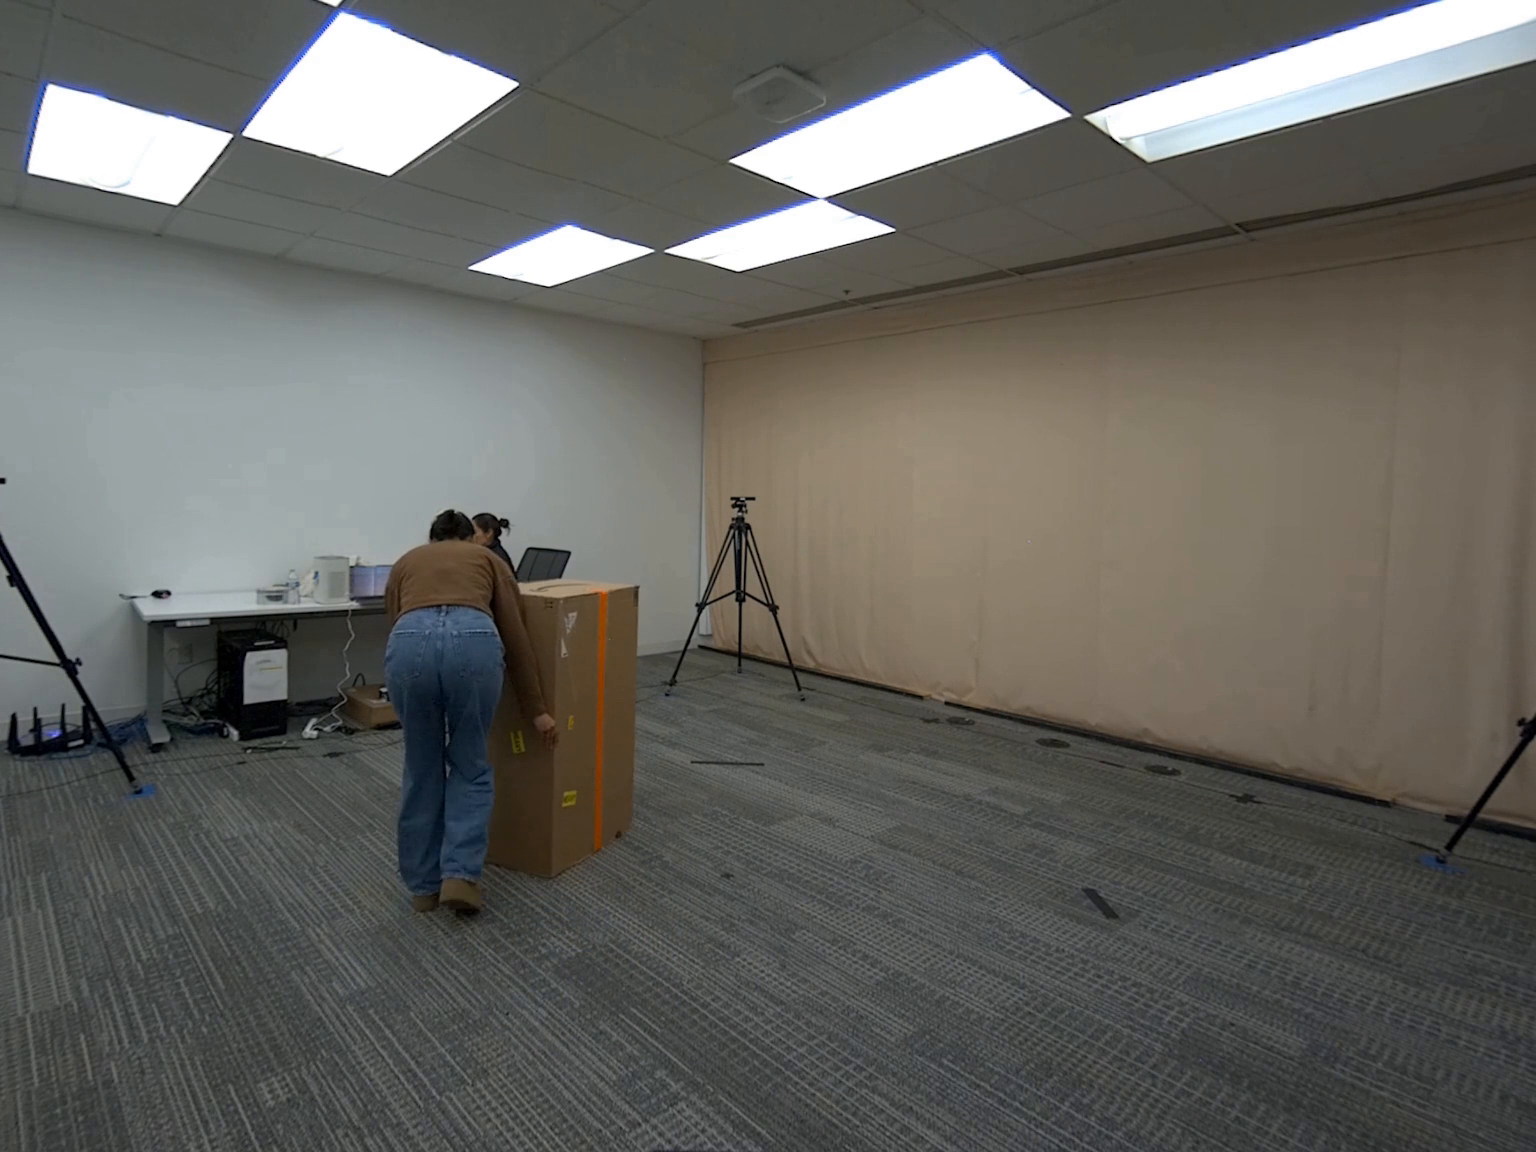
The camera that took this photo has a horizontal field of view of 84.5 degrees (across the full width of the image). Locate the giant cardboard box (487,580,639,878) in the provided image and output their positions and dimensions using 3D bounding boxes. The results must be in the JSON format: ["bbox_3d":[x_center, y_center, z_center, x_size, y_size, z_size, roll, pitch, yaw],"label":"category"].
[{"bbox_3d":[-0.853,0.559,3.363,0.434,1.024,0.568,3,3,22],"label":"giant cardboard box"}]
